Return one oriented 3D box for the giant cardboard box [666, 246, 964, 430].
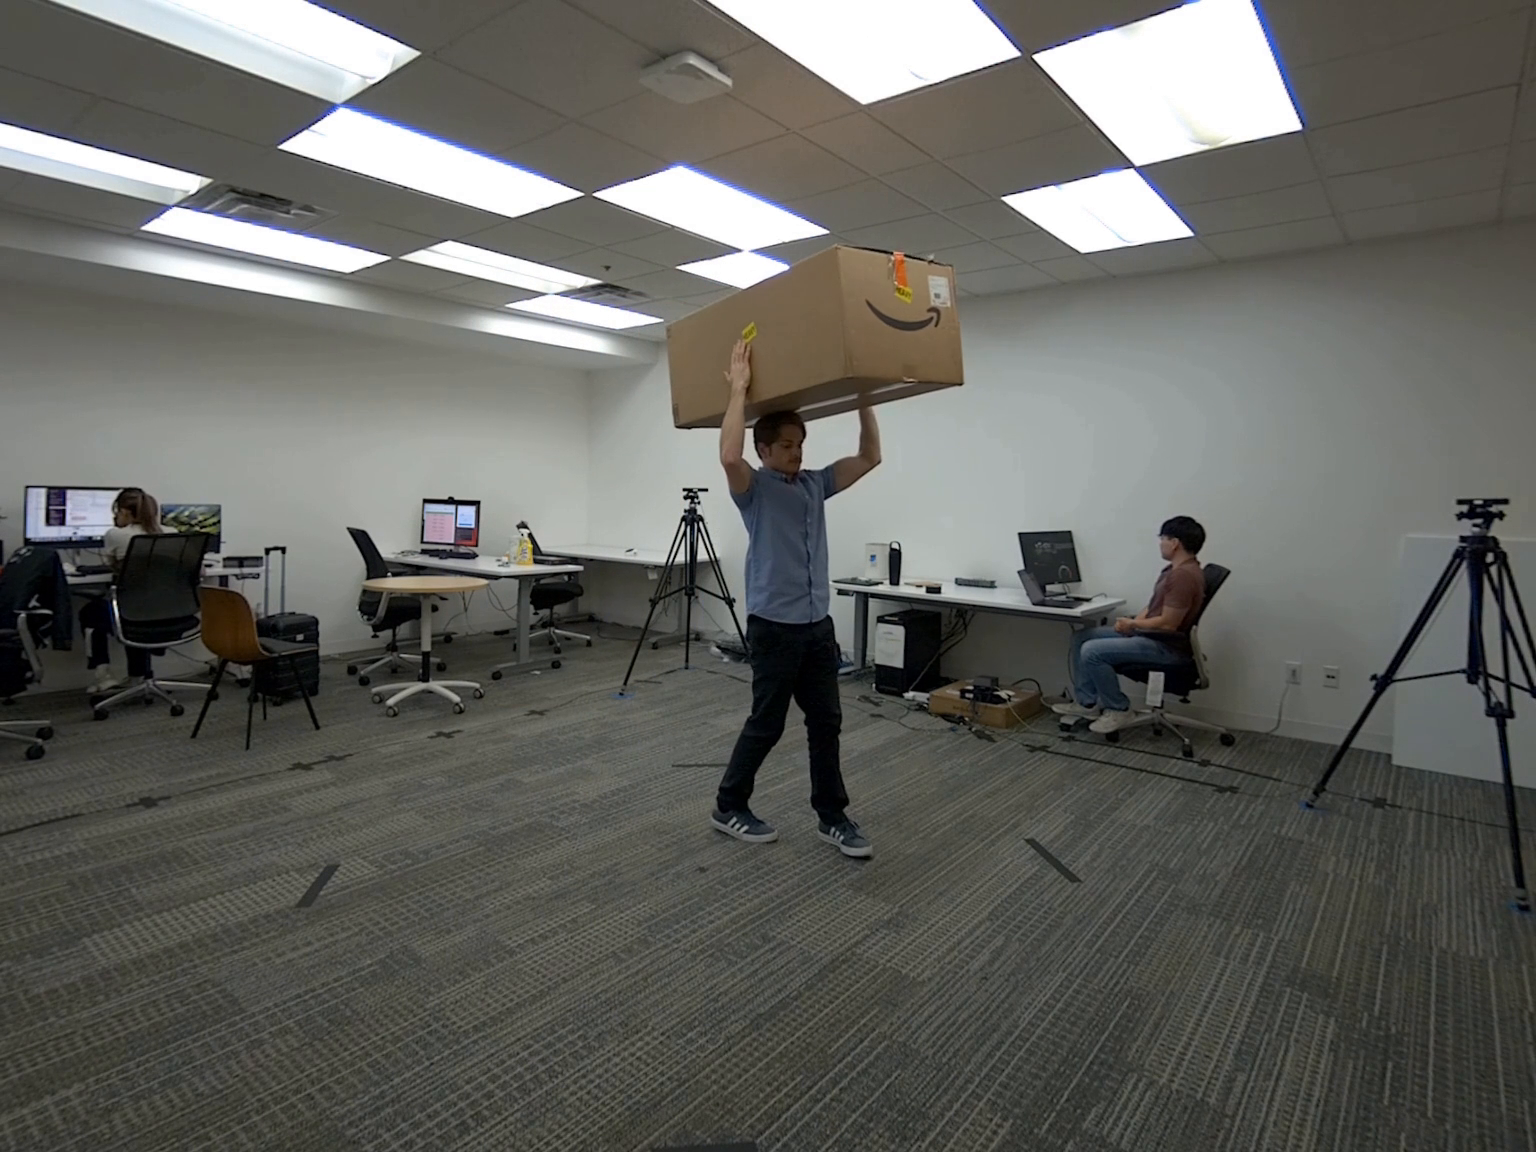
[{"bbox_3d":[0.126,-0.852,3.231,0.561,0.426,1.056,-6,3,-37],"label":"giant cardboard box"}]
